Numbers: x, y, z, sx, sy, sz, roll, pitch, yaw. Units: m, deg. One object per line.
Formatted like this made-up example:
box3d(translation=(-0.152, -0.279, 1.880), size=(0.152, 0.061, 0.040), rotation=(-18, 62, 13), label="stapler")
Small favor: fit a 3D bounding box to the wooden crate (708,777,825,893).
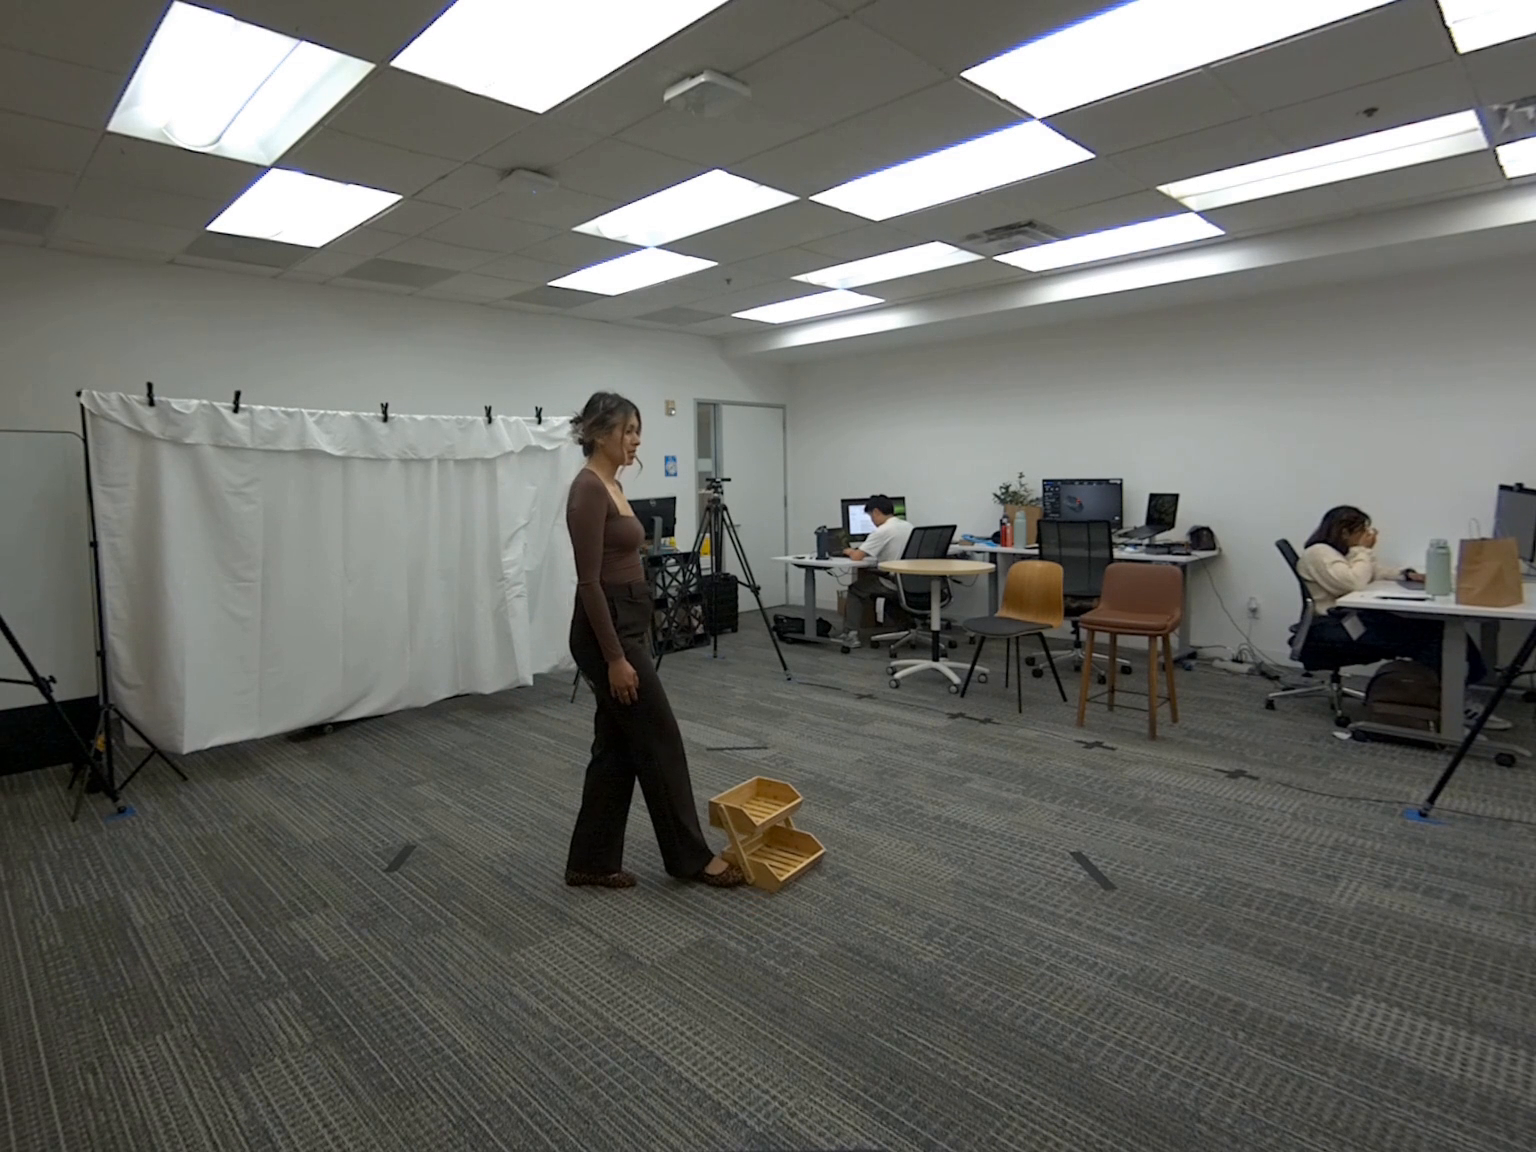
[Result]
box3d(translation=(0.006, 0.912, 3.063), size=(0.311, 0.272, 0.316), rotation=(2, 6, 36), label="wooden crate")
